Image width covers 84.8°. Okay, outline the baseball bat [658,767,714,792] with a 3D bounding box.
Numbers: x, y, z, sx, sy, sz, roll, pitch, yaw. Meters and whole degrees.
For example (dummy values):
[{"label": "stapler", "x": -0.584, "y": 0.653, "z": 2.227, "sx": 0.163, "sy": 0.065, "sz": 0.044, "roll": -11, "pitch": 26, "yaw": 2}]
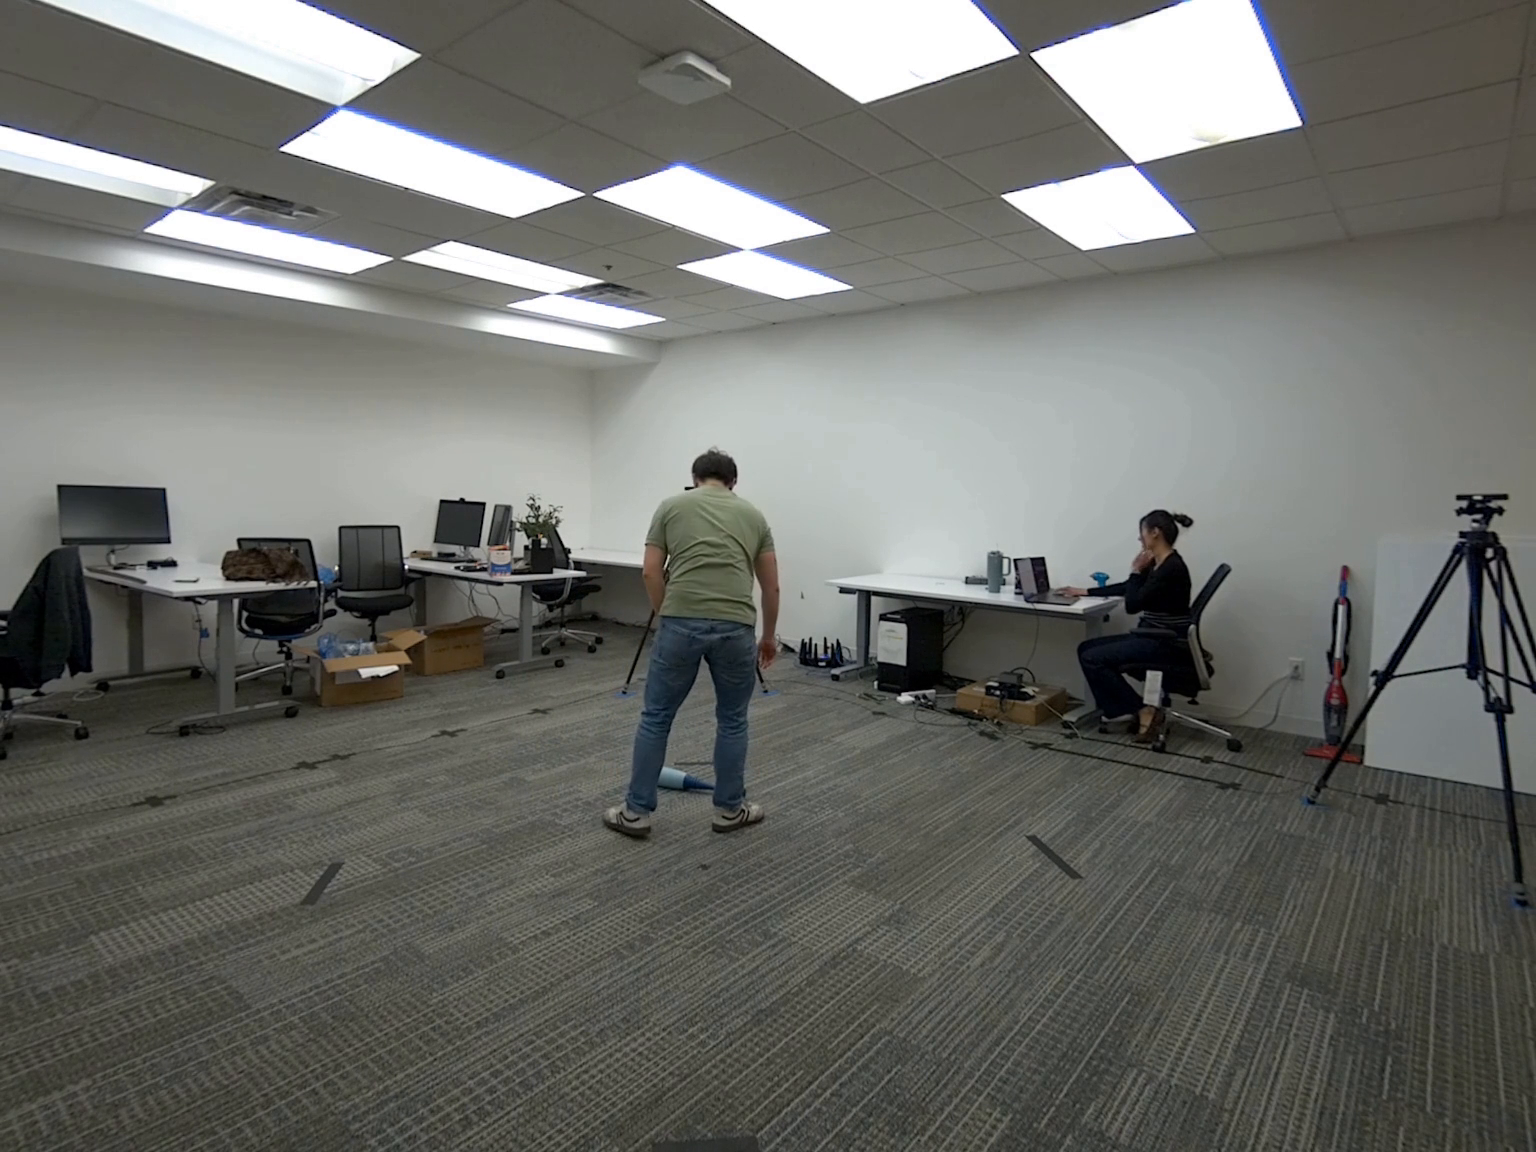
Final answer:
[{"label": "baseball bat", "x": -0.369, "y": 0.945, "z": 3.910, "sx": 0.555, "sy": 0.089, "sz": 0.087, "roll": 6, "pitch": 6, "yaw": 20}]
